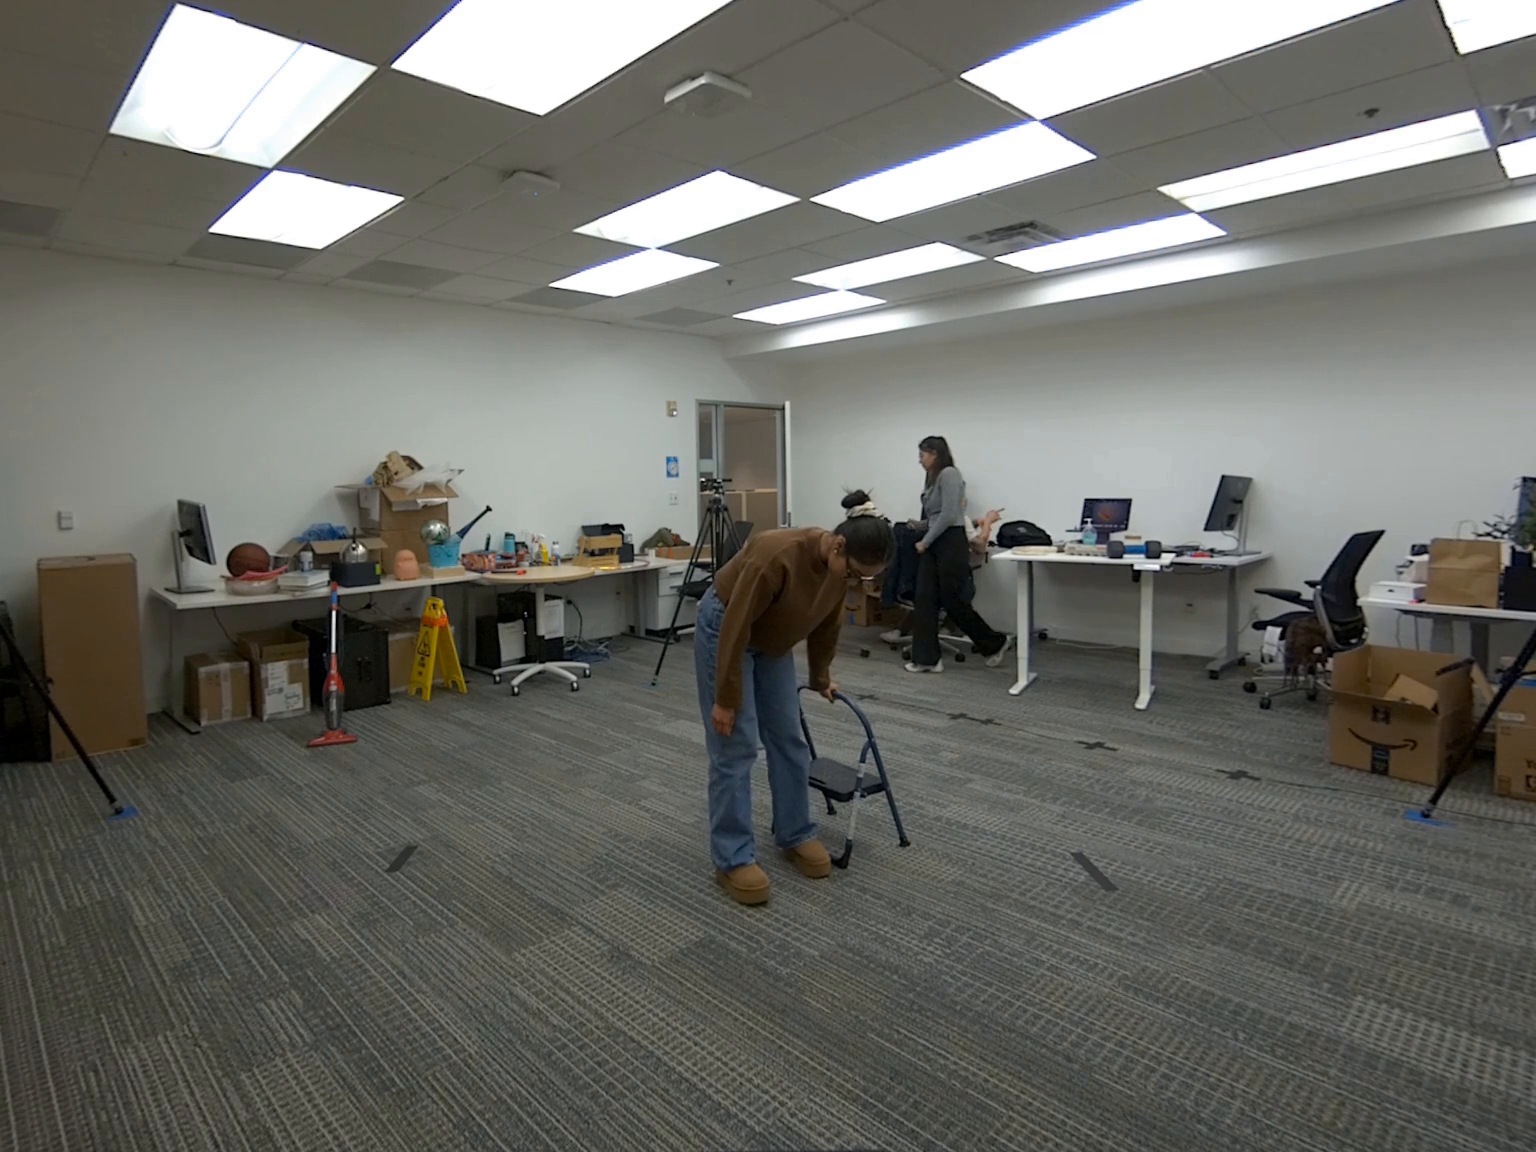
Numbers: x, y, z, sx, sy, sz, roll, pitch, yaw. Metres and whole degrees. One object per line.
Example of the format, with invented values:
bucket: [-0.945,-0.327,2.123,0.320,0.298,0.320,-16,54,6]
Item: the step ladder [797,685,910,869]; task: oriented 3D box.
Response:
step ladder: [0.269,0.712,3.292,0.340,0.603,0.444,-5,6,-38]
